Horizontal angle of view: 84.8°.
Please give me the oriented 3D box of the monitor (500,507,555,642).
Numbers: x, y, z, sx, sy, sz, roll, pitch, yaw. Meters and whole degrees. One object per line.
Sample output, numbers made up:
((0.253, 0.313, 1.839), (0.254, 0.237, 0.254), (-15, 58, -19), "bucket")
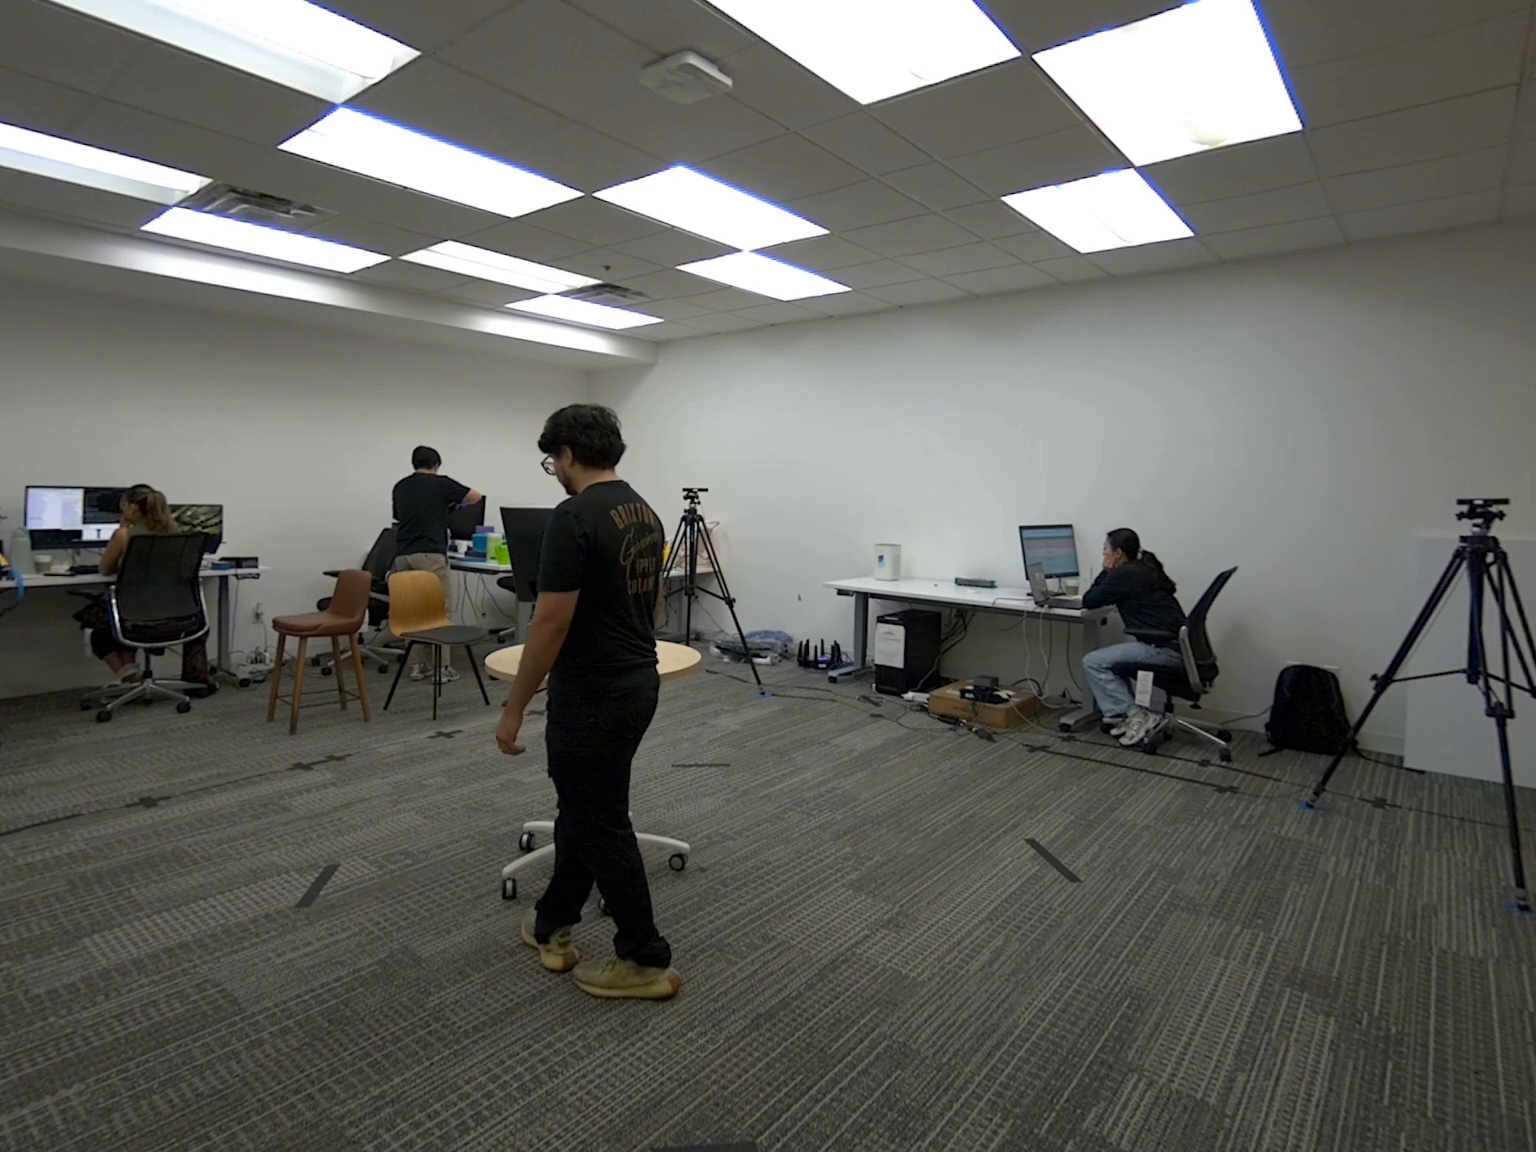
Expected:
((-0.717, 0.038, 2.872), (0.582, 0.549, 0.206), (3, 10, 30), "monitor")
